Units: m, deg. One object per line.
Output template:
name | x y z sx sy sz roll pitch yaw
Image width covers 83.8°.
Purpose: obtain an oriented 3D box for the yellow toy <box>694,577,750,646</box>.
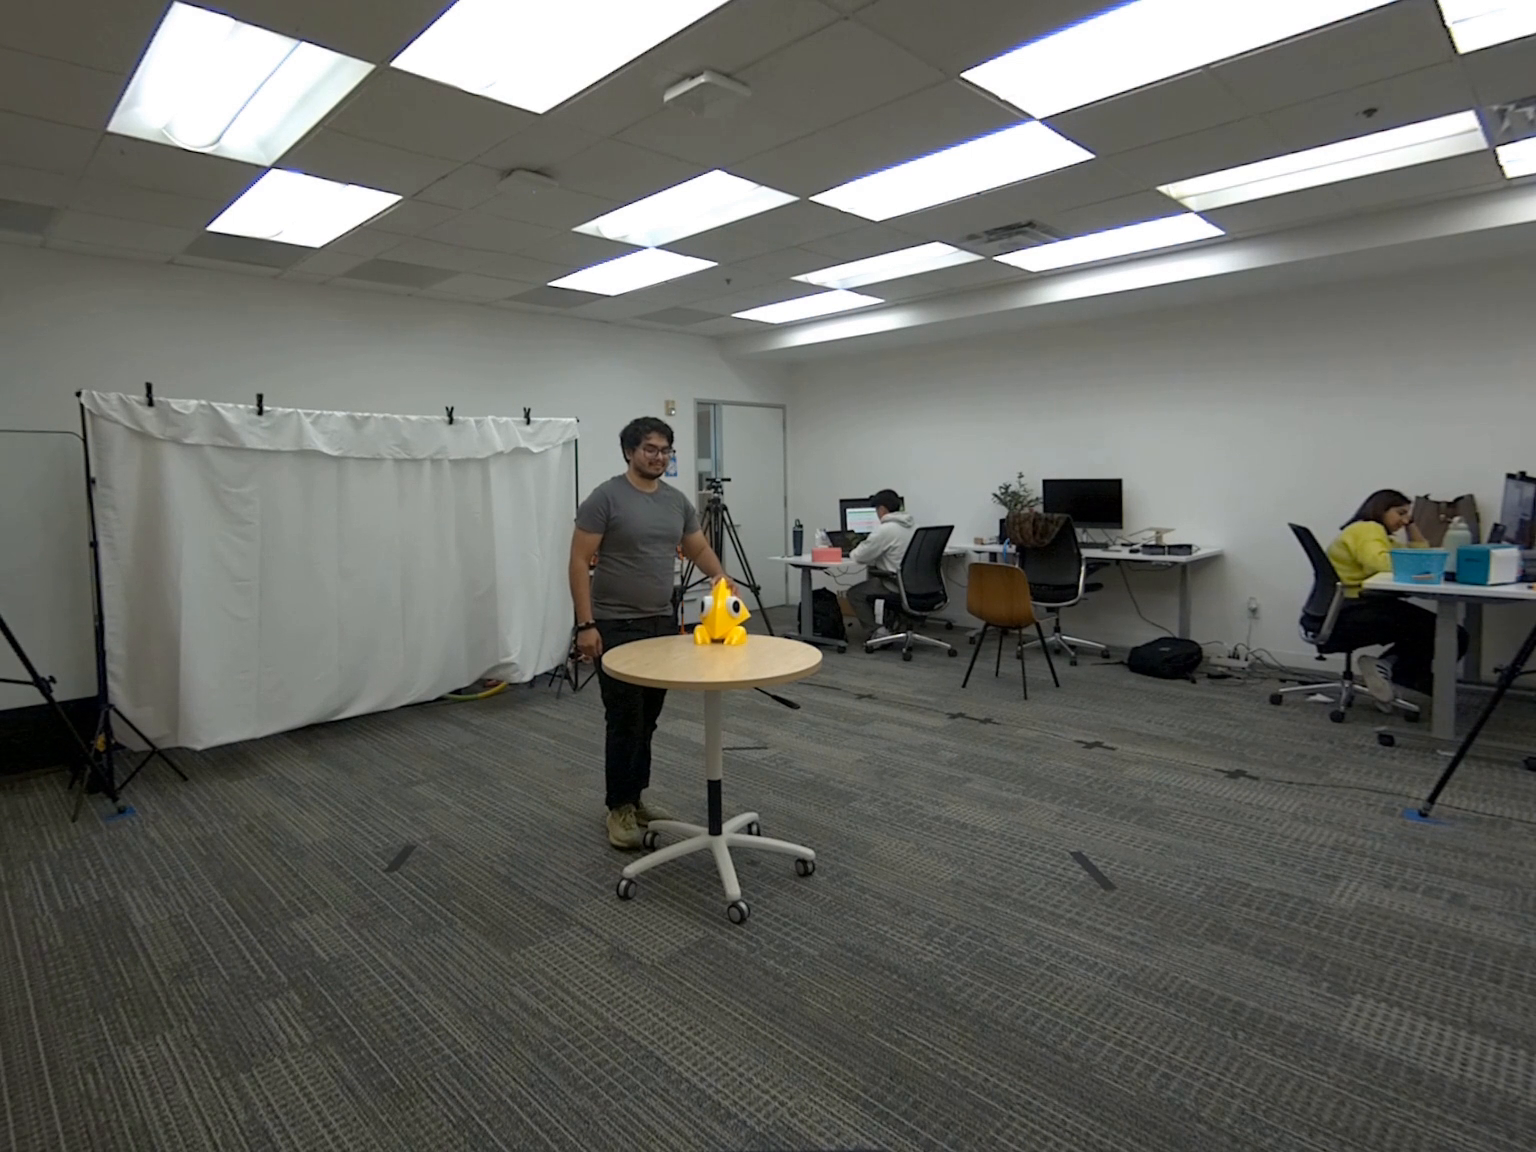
yellow toy | -0.182 0.130 3.228 0.207 0.230 0.192 1 5 9
